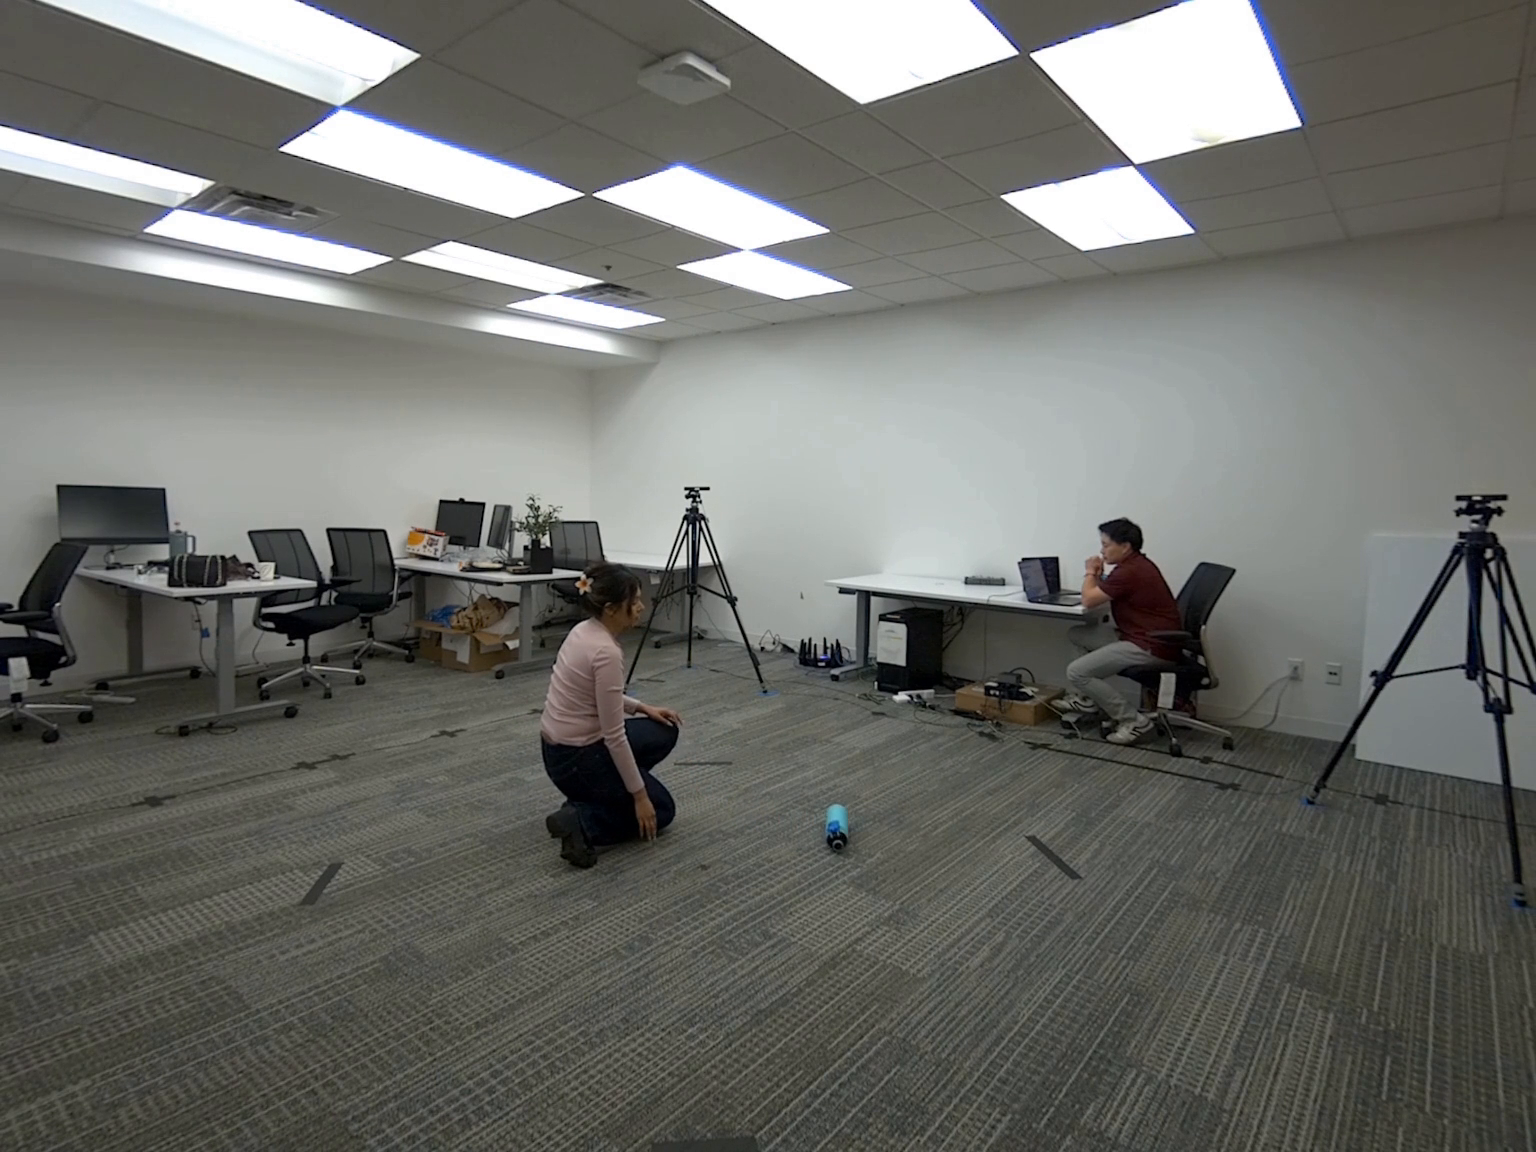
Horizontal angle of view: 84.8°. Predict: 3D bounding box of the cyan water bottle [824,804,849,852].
[{"bbox_3d":[0.265,1.005,3.391,0.093,0.092,0.282,1,5,4],"label":"cyan water bottle"}]
